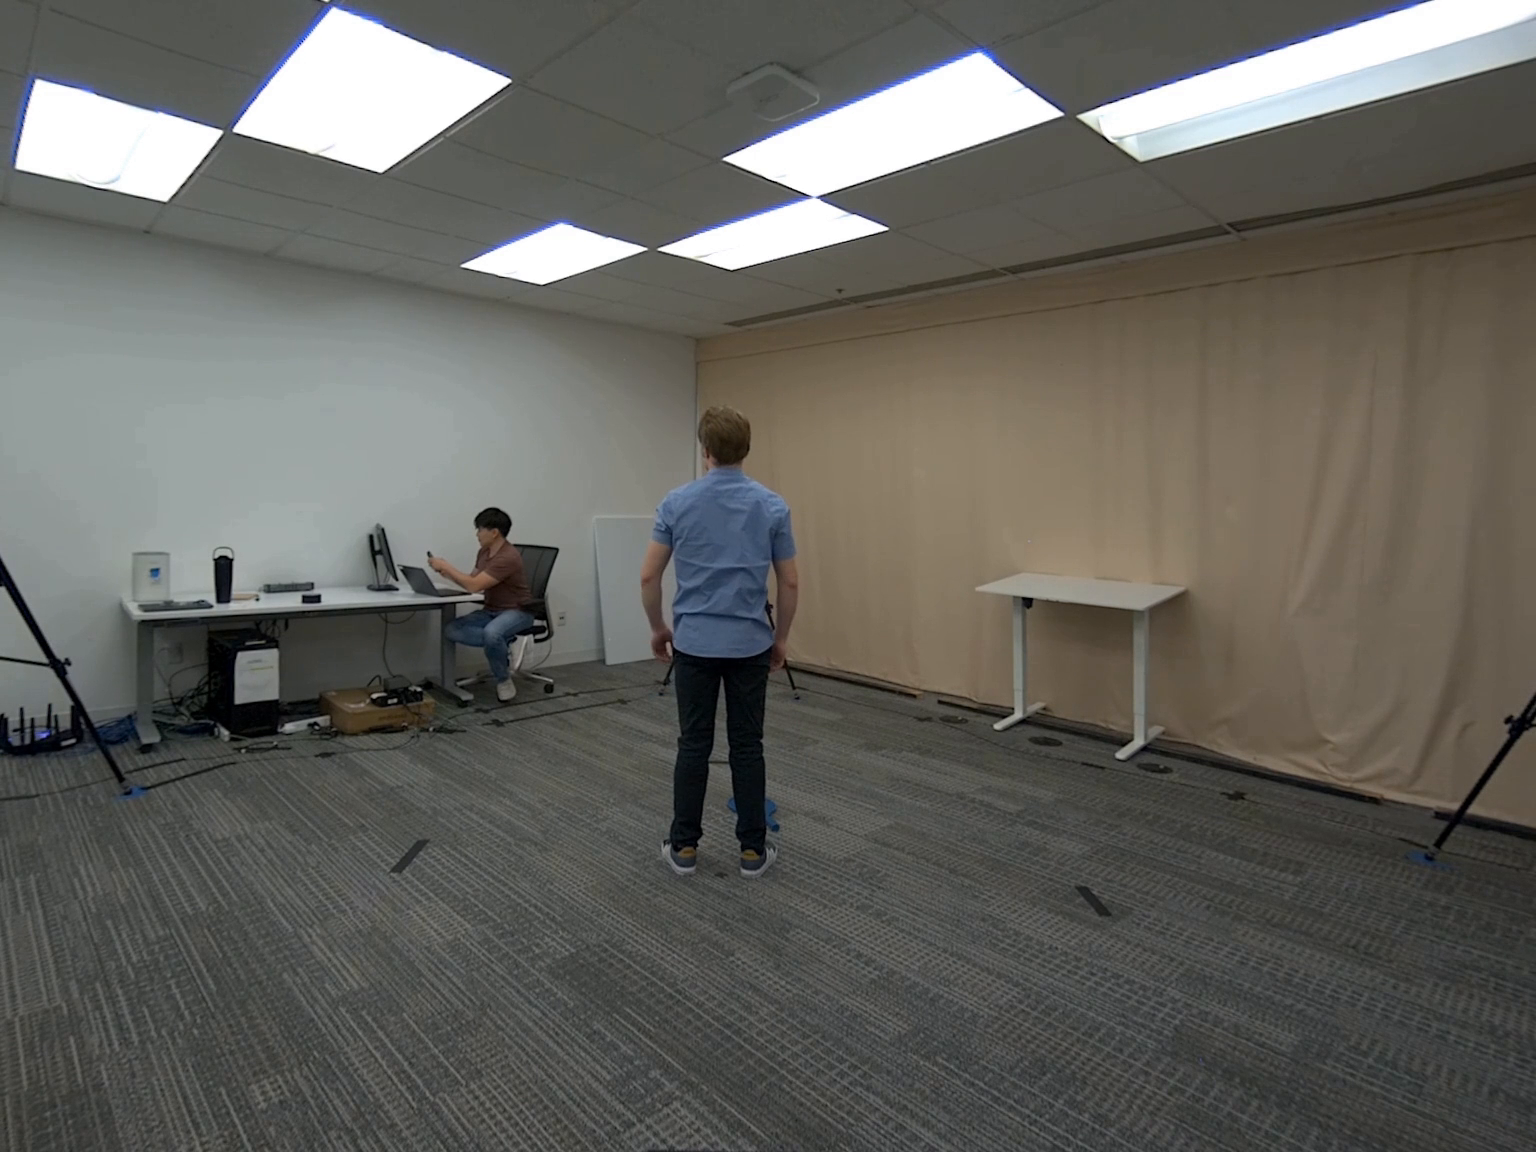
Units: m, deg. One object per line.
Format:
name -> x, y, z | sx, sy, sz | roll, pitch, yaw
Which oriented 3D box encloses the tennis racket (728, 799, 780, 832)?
tennis racket -> -0.051, 1.038, 3.727 | 0.210, 0.032, 0.440 | 0, 4, -22
